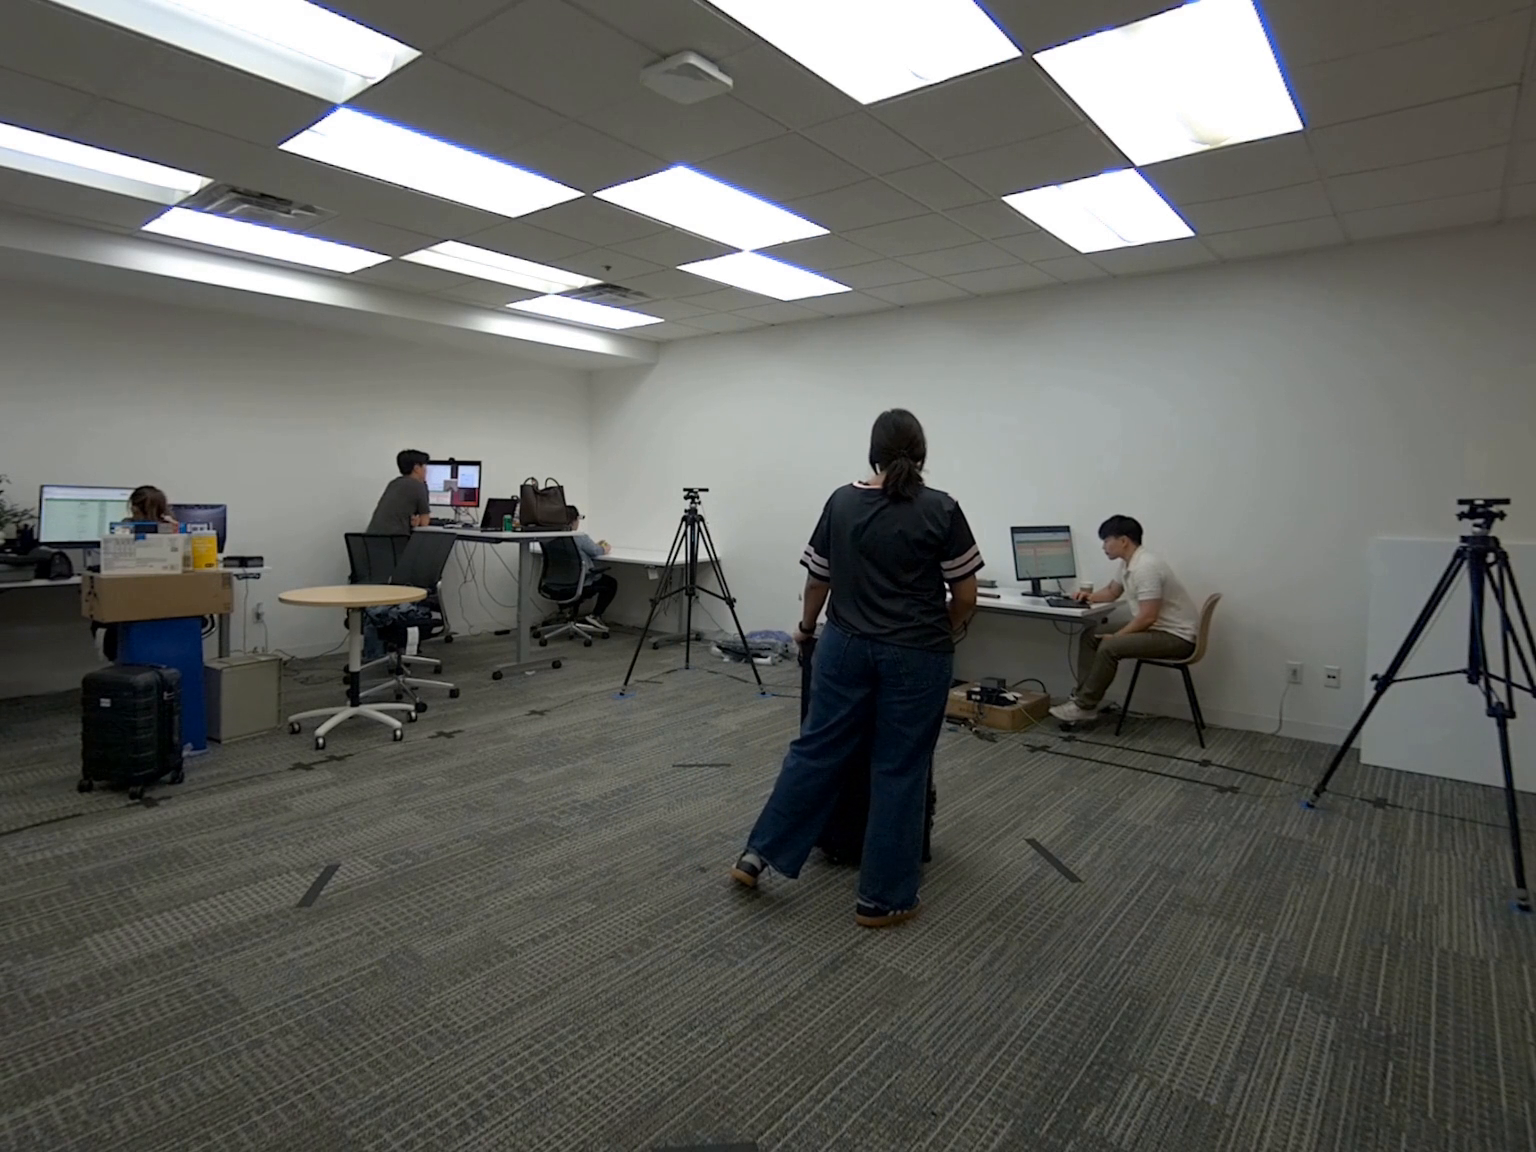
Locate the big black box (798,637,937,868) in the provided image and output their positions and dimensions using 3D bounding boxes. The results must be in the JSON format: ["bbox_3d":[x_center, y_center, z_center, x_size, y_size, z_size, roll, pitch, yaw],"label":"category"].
[{"bbox_3d":[0.375,0.638,3.269,0.532,0.866,0.380,2,3,14],"label":"big black box"}]
